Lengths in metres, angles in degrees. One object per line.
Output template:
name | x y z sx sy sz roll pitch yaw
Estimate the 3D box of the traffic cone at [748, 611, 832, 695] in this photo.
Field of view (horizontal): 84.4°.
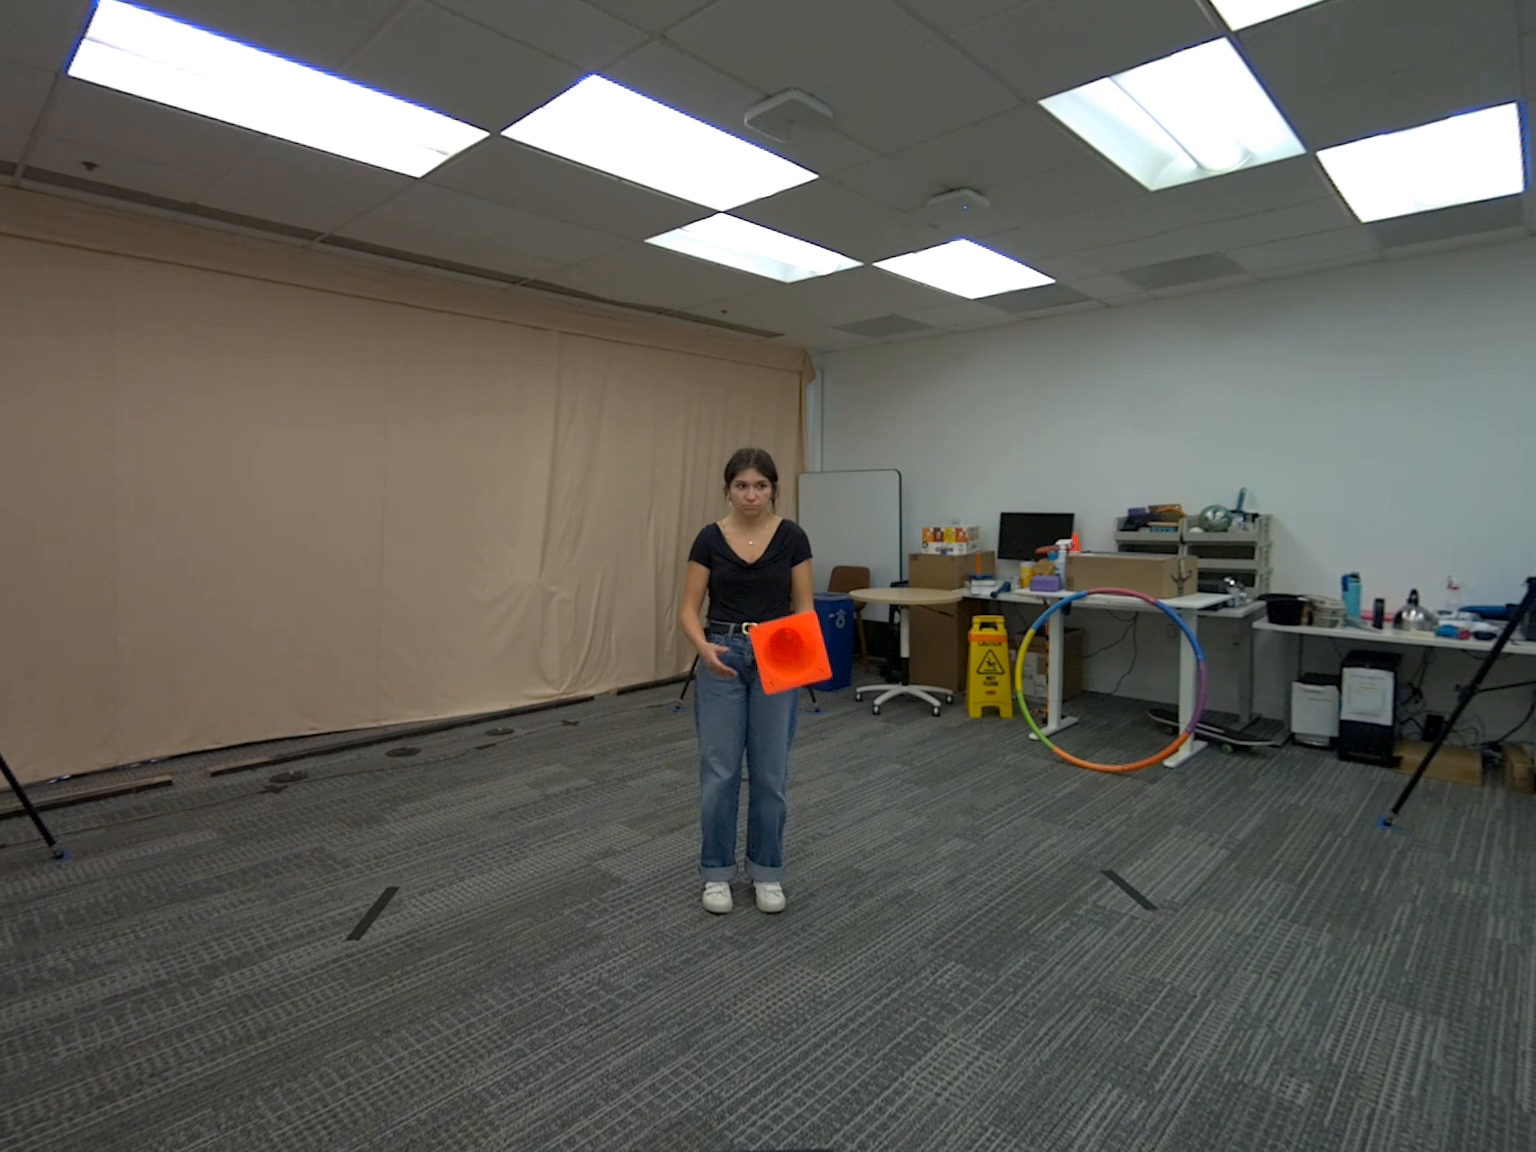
traffic cone | 0.057 0.222 2.598 0.203 0.204 0.385 -28 3 -2
